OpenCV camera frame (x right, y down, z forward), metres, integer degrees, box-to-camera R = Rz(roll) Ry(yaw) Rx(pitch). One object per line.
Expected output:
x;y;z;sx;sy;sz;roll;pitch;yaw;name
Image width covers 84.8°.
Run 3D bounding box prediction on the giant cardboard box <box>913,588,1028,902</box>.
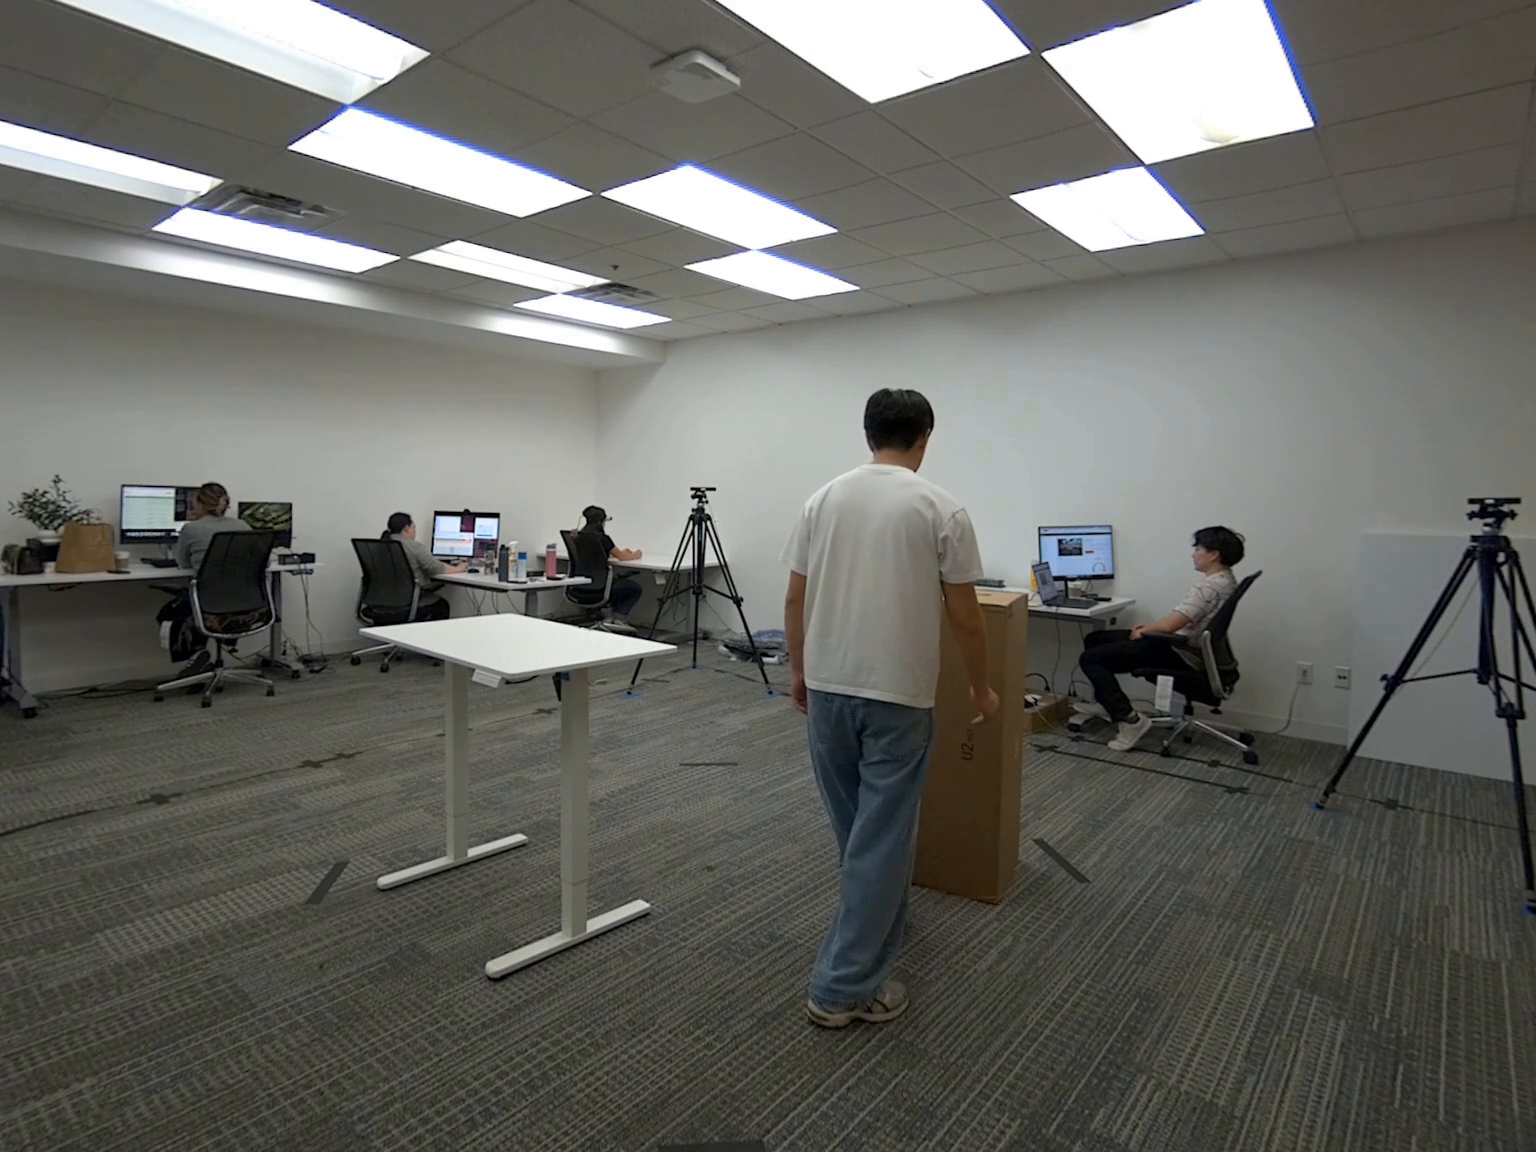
0.616;0.567;3.180;0.594;1.023;0.415;3;4;28;giant cardboard box
